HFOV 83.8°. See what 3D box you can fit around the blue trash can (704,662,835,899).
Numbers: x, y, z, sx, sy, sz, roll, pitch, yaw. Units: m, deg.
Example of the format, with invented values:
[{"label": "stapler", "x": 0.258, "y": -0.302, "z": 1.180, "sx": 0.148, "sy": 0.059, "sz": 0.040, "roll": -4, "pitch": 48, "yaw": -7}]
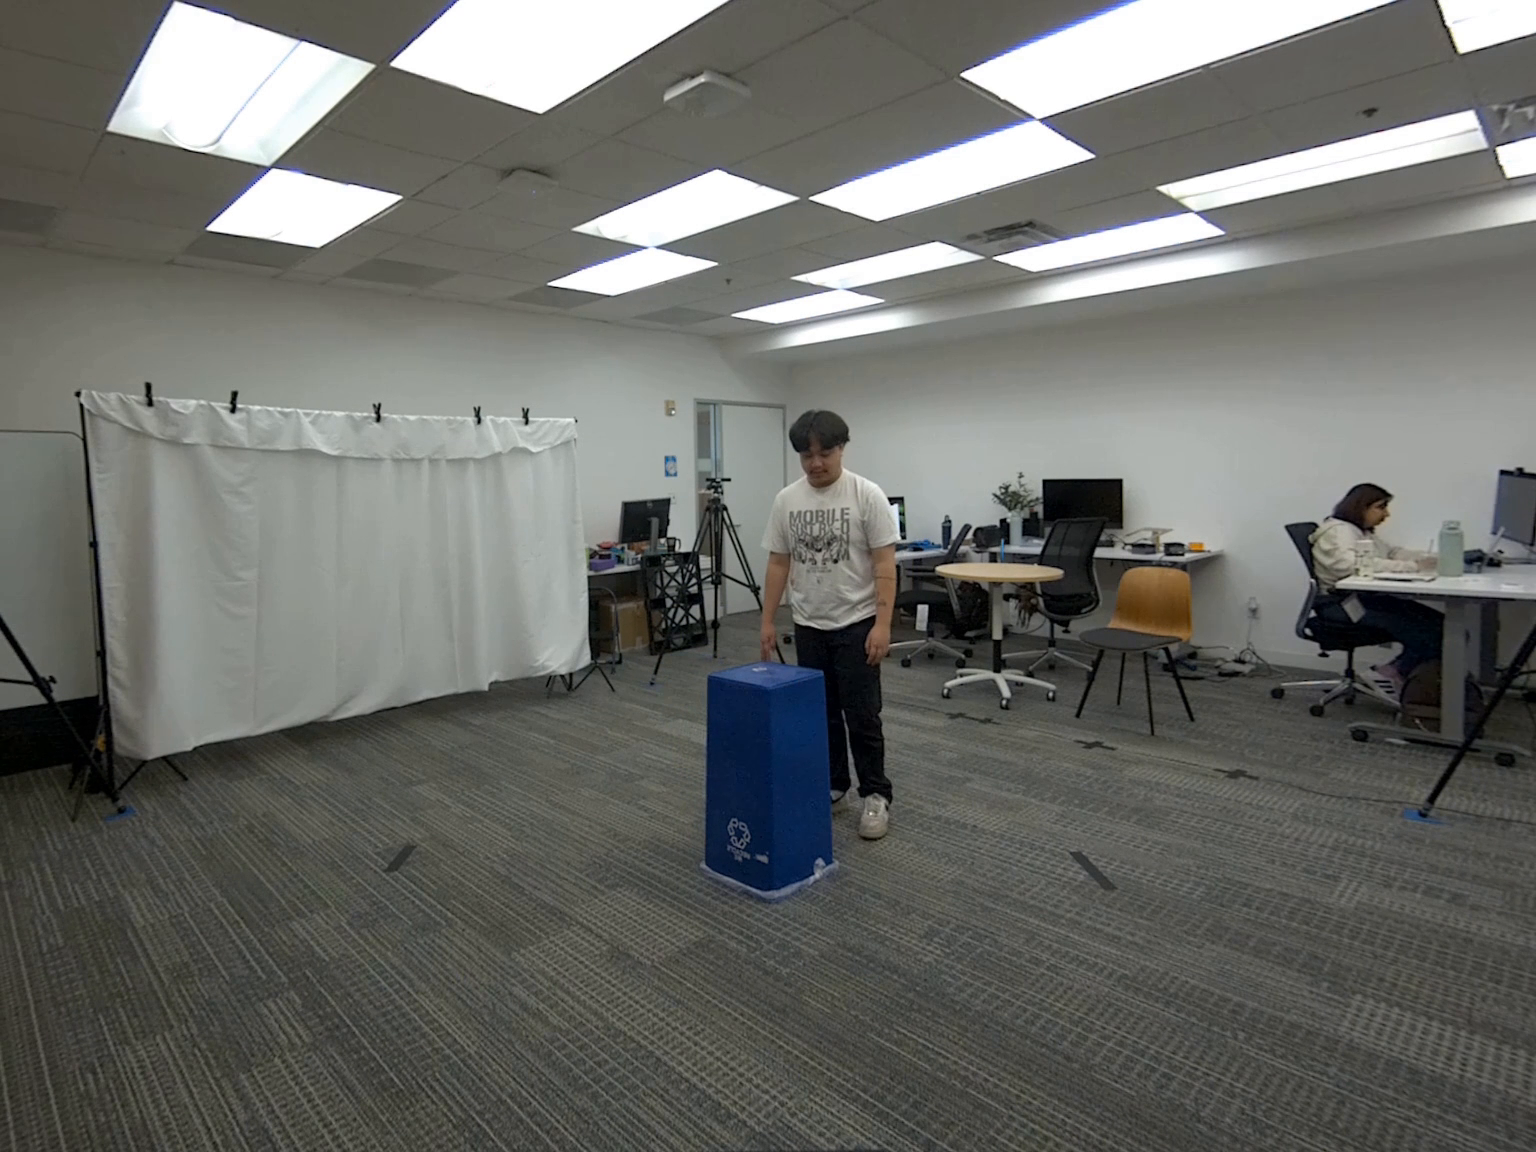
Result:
[{"label": "blue trash can", "x": -0.005, "y": 0.694, "z": 3.037, "sx": 0.385, "sy": 0.711, "sz": 0.368, "roll": 2, "pitch": 5, "yaw": 44}]
